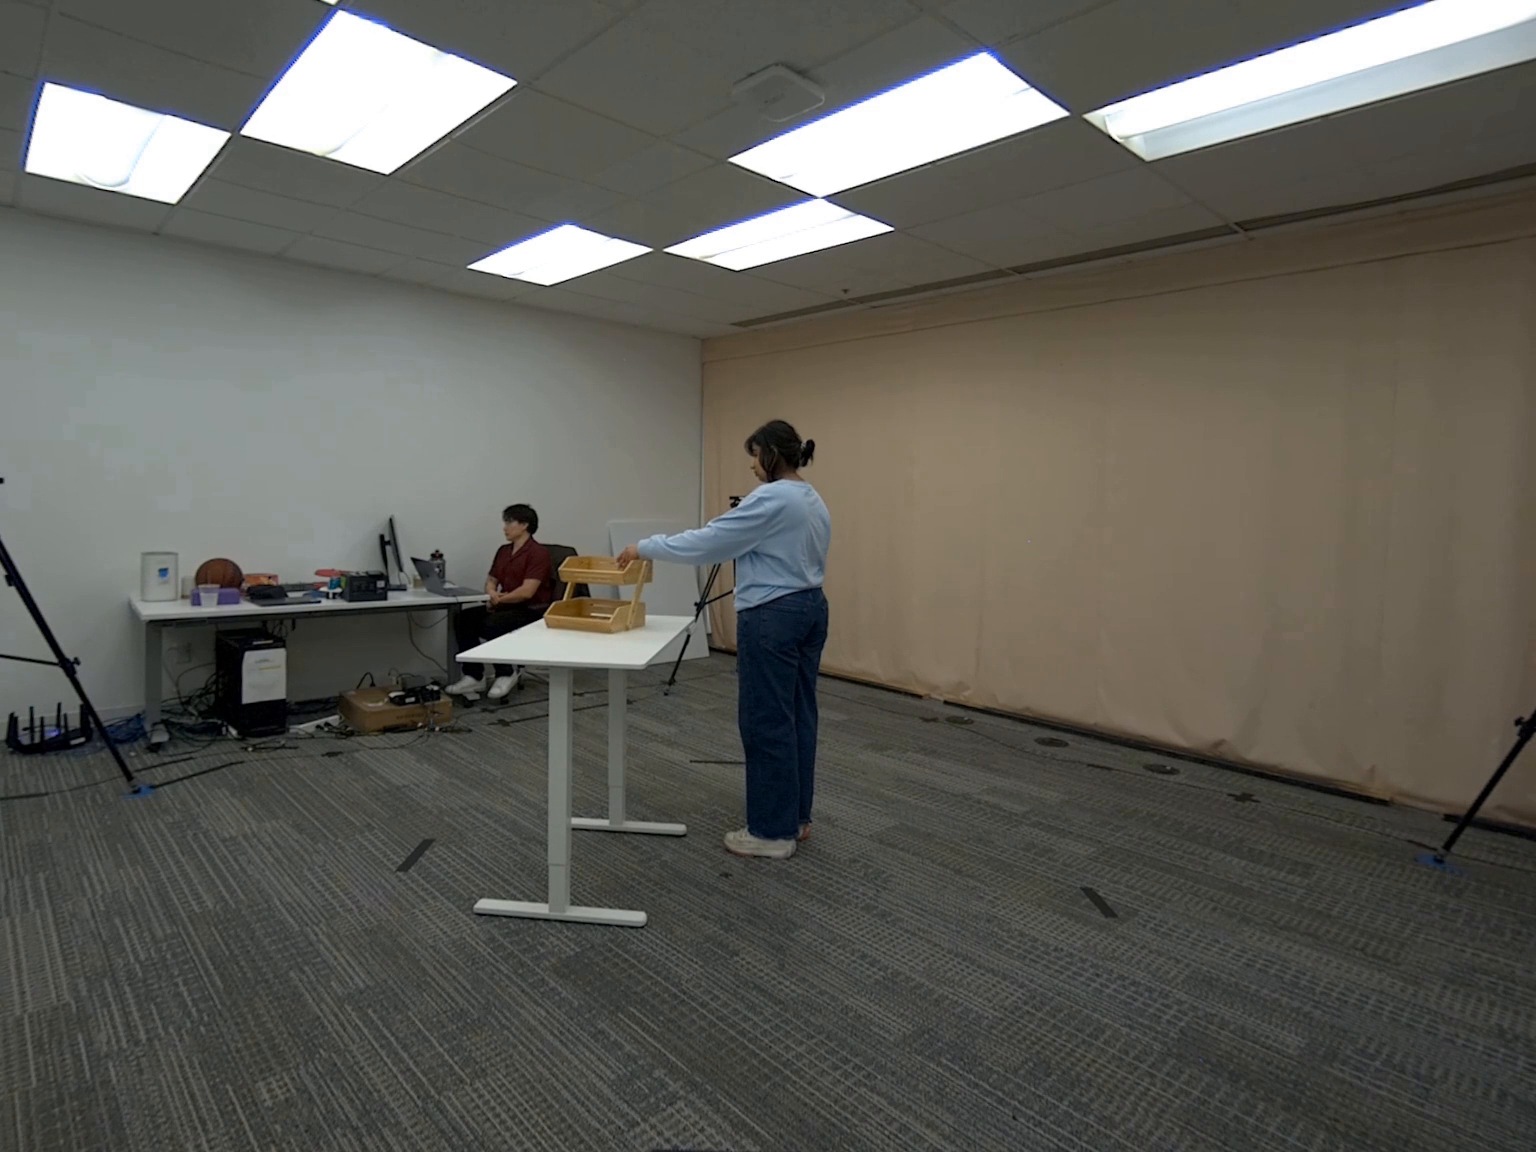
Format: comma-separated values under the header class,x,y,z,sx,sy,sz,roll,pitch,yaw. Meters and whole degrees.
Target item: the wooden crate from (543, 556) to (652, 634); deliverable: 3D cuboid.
class,x,y,z,sx,sy,sz,roll,pitch,yaw
wooden crate,-0.657,0.061,3.253,0.330,0.273,0.297,3,3,23
